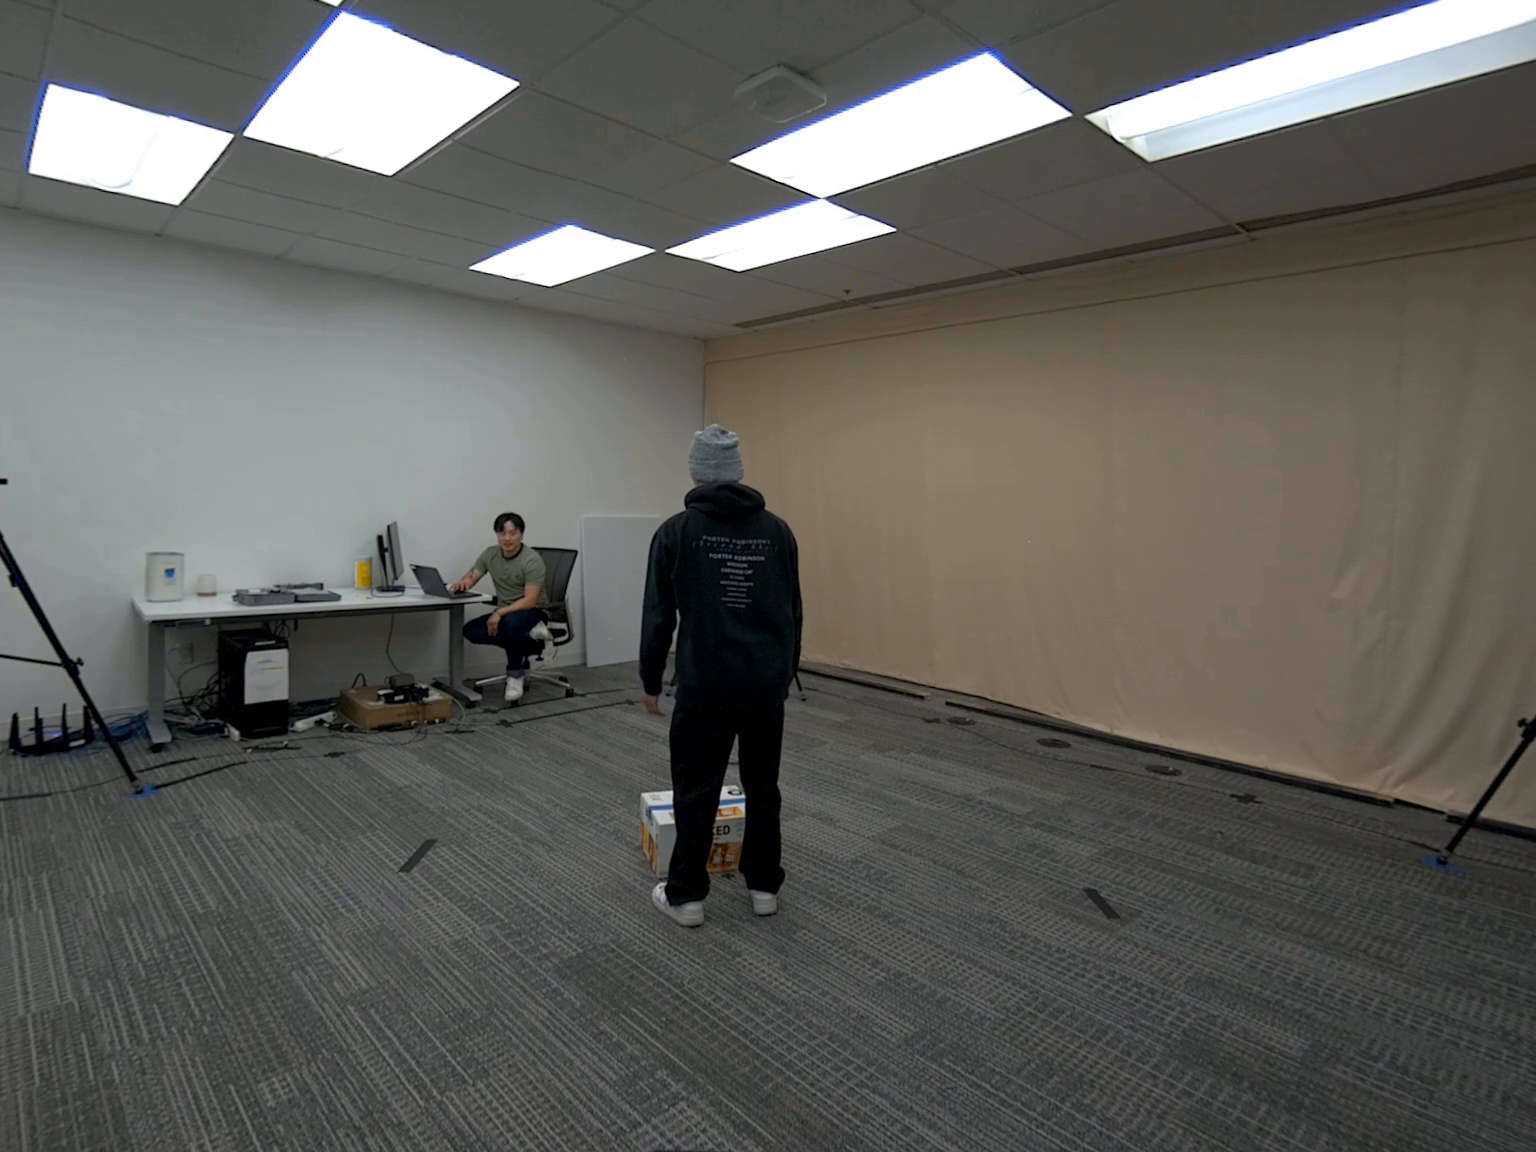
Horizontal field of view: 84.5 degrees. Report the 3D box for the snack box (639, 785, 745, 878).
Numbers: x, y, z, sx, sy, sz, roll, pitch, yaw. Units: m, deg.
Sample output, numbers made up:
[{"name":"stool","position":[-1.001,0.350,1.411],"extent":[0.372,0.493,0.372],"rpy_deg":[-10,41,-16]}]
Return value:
[{"name":"snack box","position":[-0.275,0.988,3.278],"extent":[0.399,0.205,0.346],"rpy_deg":[0,5,-19]}]
